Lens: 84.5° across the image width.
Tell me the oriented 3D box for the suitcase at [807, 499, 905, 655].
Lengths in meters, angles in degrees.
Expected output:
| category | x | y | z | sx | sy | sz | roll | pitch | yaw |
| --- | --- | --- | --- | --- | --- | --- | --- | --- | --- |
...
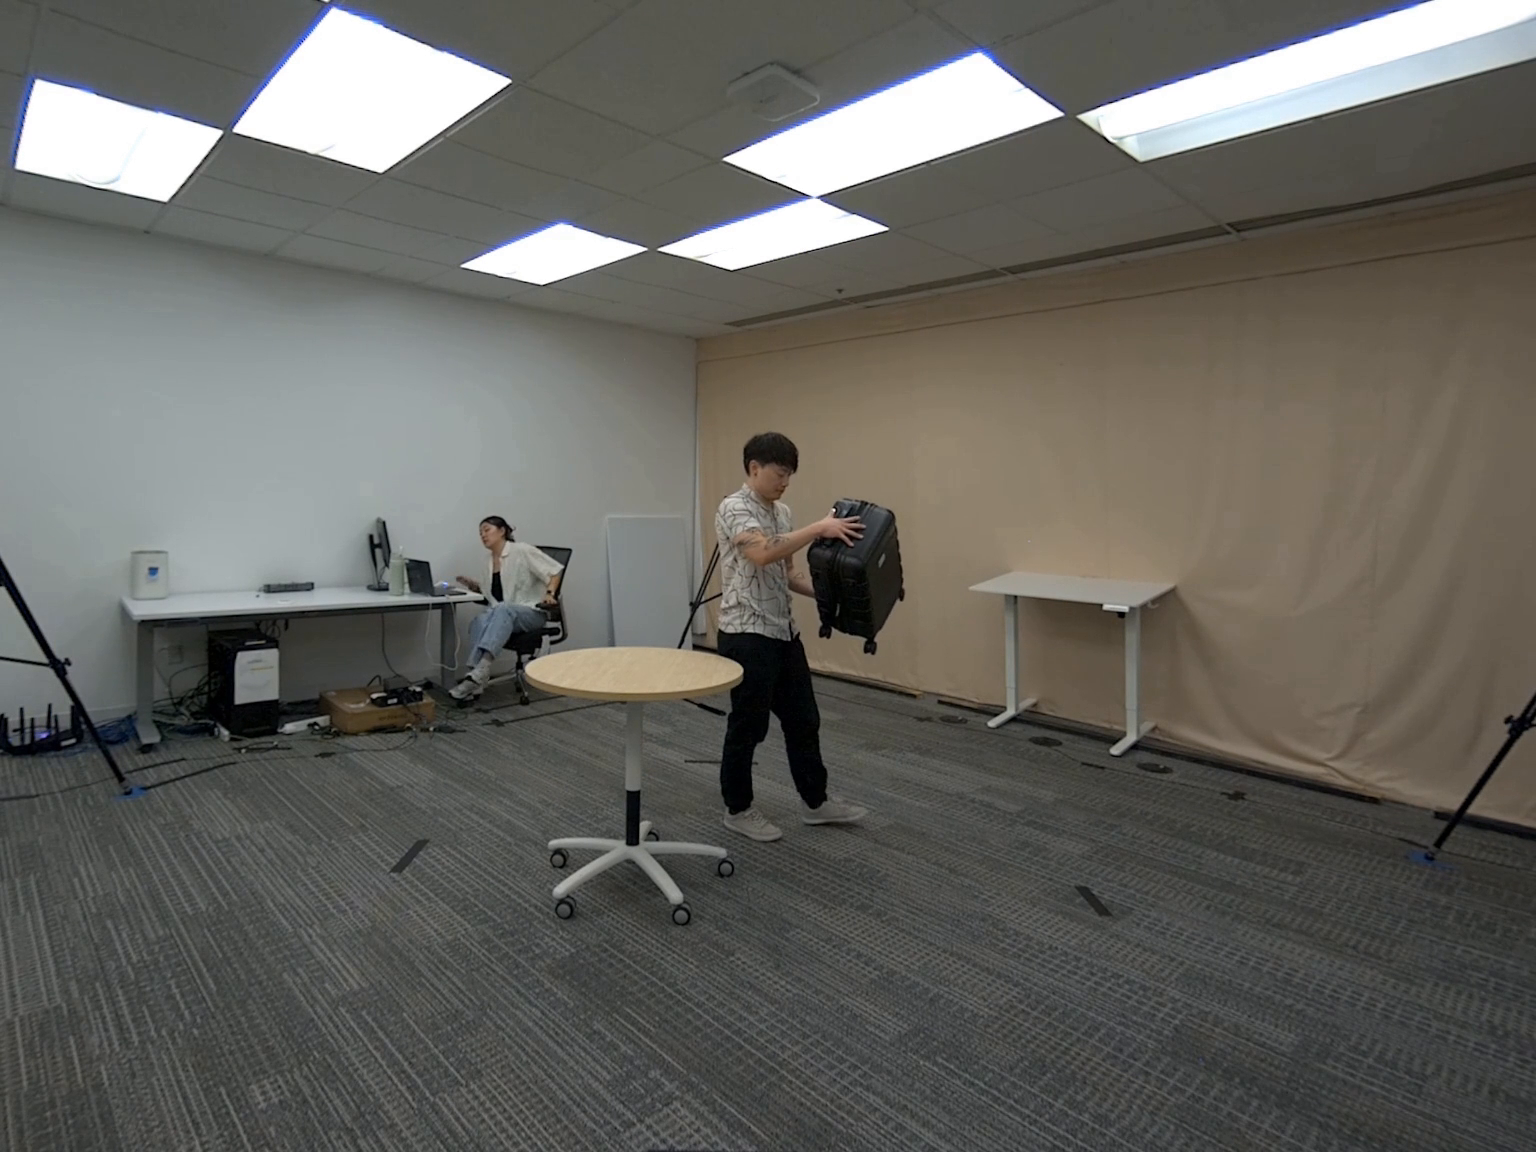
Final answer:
| category | x | y | z | sx | sy | sz | roll | pitch | yaw |
| --- | --- | --- | --- | --- | --- | --- | --- | --- | --- |
| suitcase | 0.353 | -0.023 | 3.365 | 0.254 | 0.534 | 0.377 | 17 | 53 | 27 |
